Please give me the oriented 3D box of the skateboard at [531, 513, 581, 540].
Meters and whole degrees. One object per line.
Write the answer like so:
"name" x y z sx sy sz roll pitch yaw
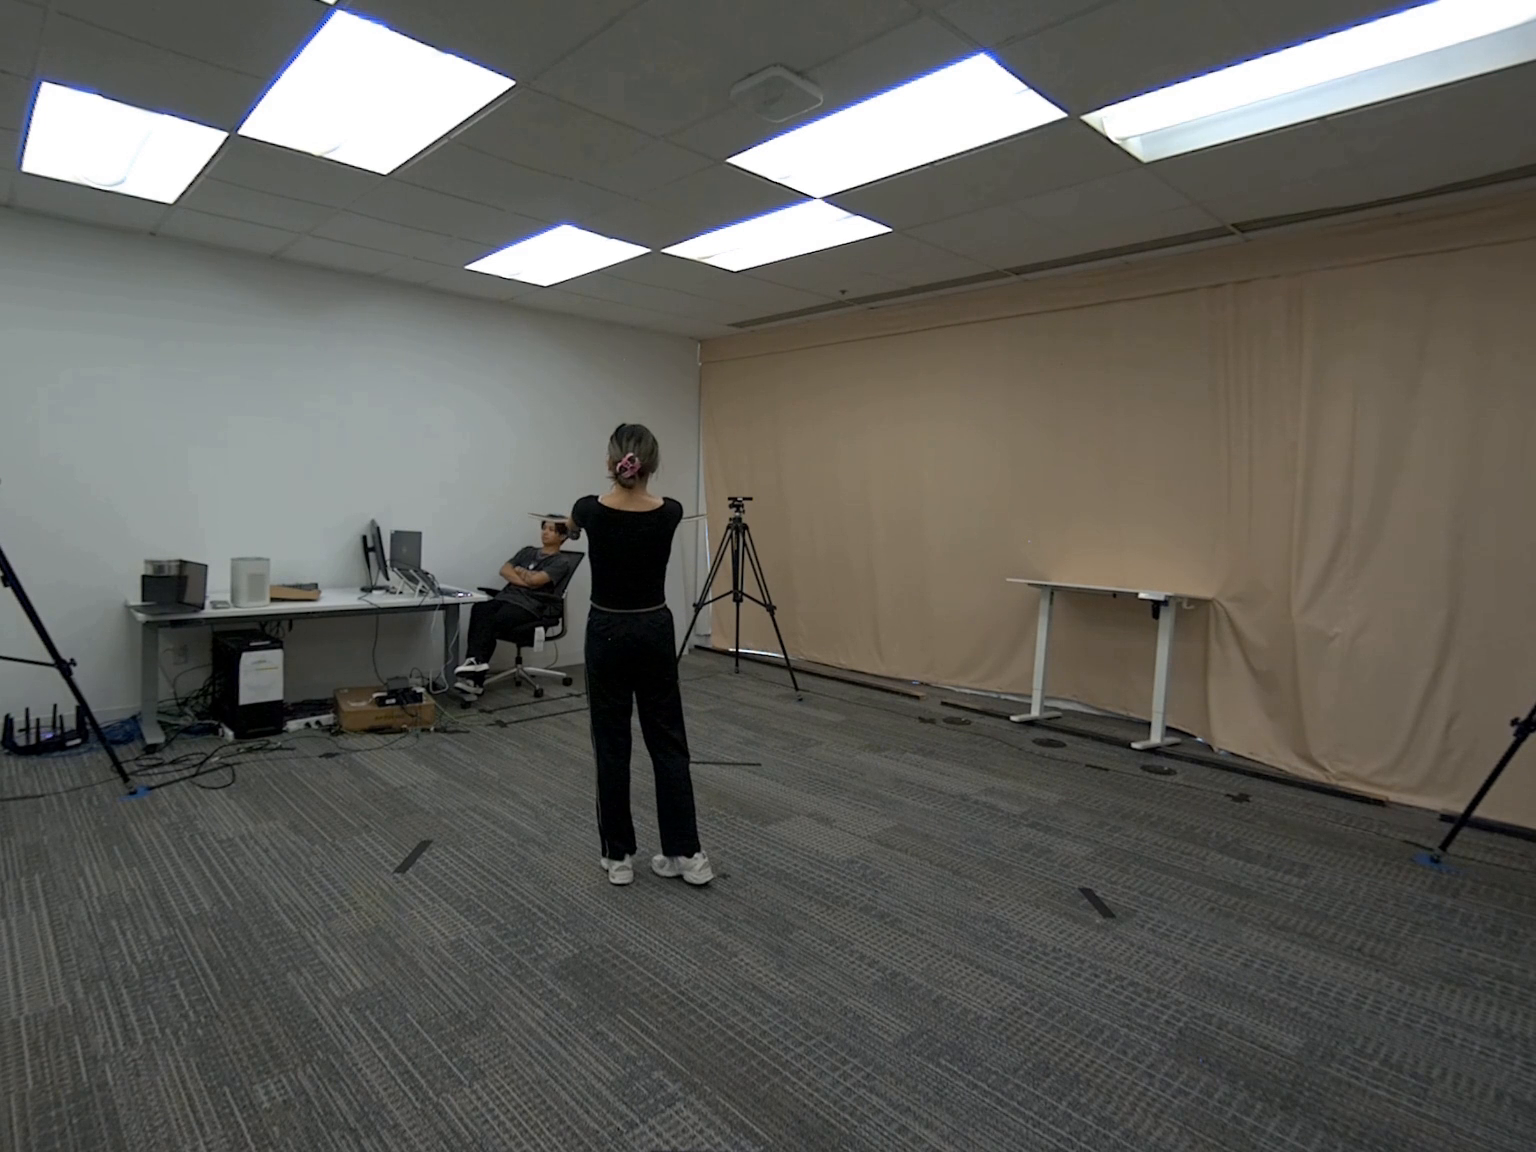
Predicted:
"skateboard" -0.652 -0.214 3.675 0.778 0.110 0.196 -1 6 -12
